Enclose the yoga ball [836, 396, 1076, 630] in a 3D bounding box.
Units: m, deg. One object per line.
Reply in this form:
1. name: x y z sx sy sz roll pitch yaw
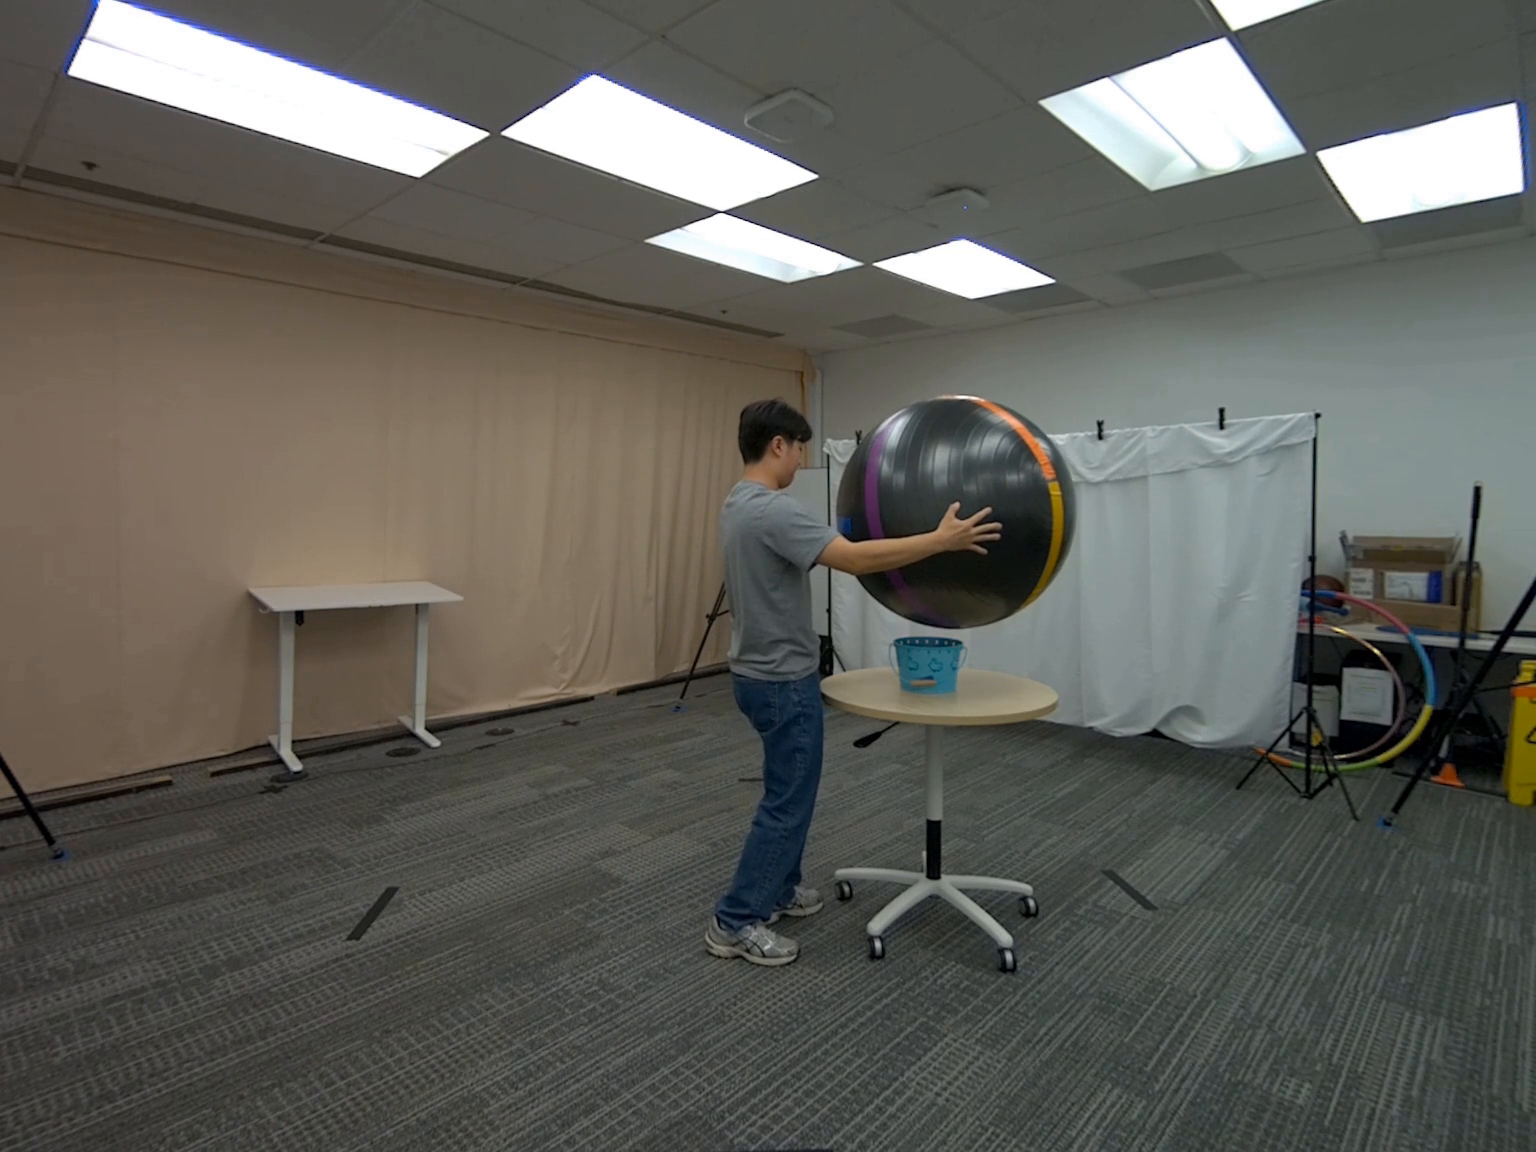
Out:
1. yoga ball: 0.620 -0.201 2.773 0.757 0.756 0.760 0 4 -2
